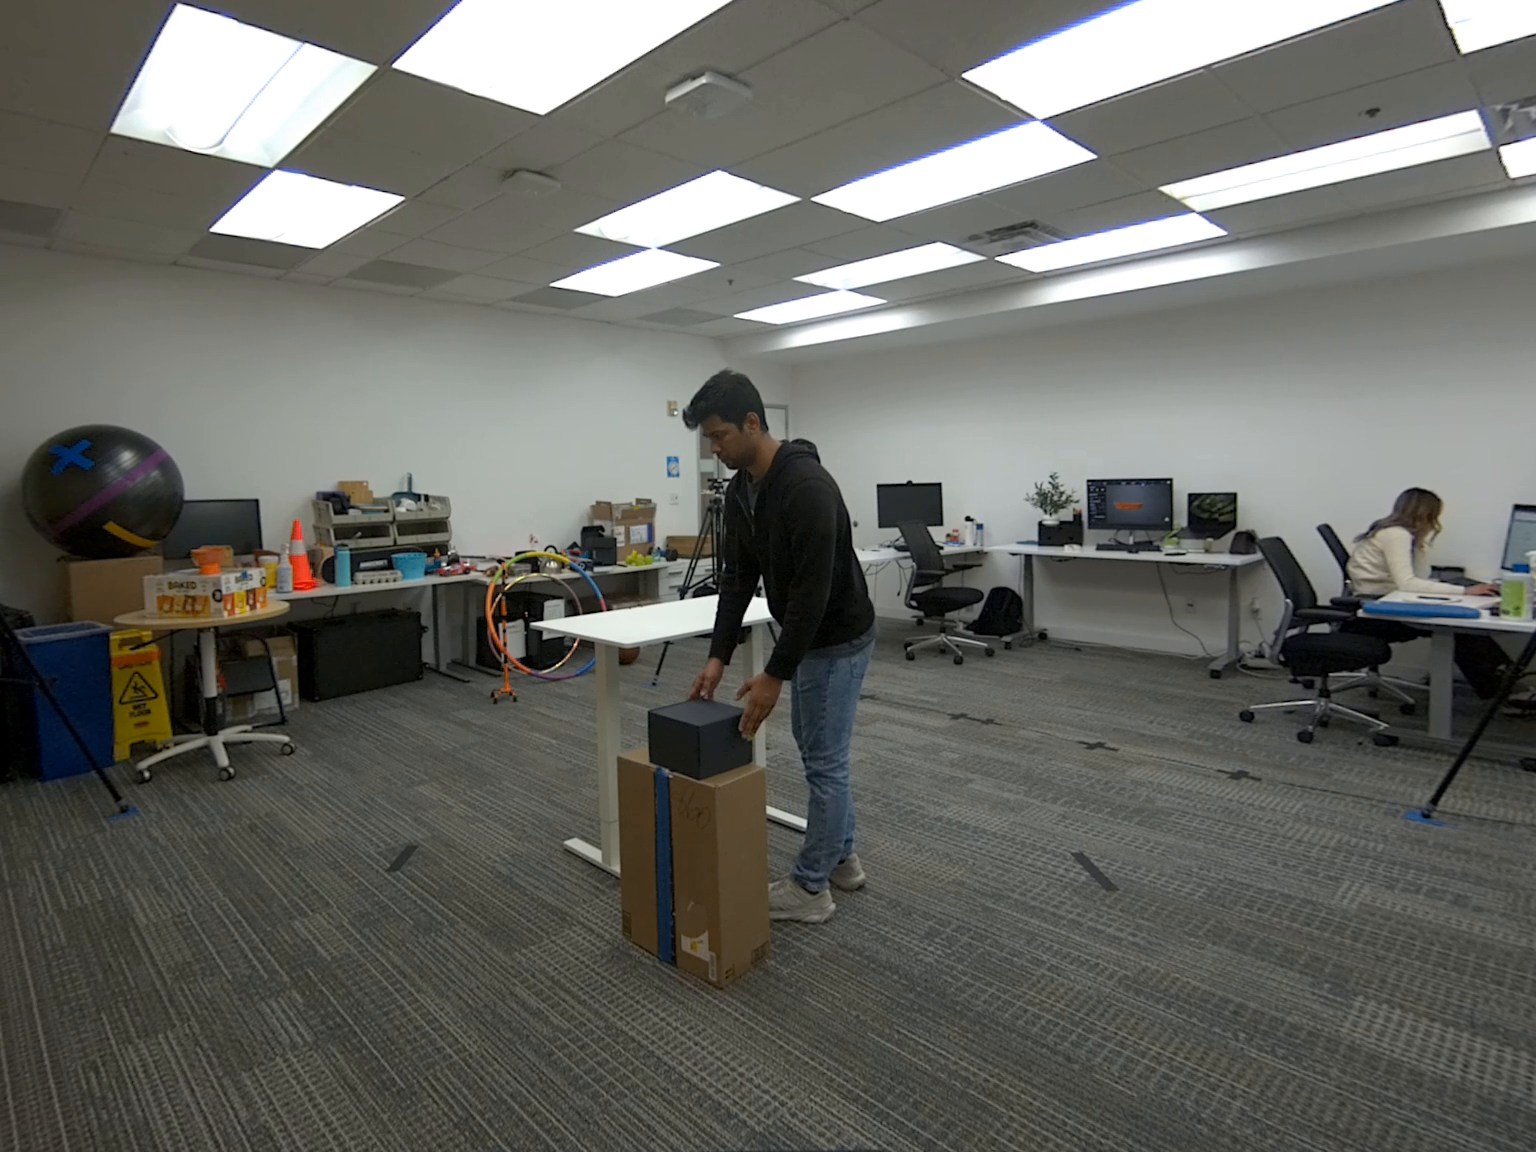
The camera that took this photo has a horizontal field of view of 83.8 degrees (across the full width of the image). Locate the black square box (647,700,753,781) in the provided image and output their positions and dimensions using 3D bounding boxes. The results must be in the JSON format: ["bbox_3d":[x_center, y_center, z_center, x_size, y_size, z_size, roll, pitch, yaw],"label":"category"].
[{"bbox_3d":[-0.197,0.471,2.511,0.235,0.155,0.211,4,7,45],"label":"black square box"}]
